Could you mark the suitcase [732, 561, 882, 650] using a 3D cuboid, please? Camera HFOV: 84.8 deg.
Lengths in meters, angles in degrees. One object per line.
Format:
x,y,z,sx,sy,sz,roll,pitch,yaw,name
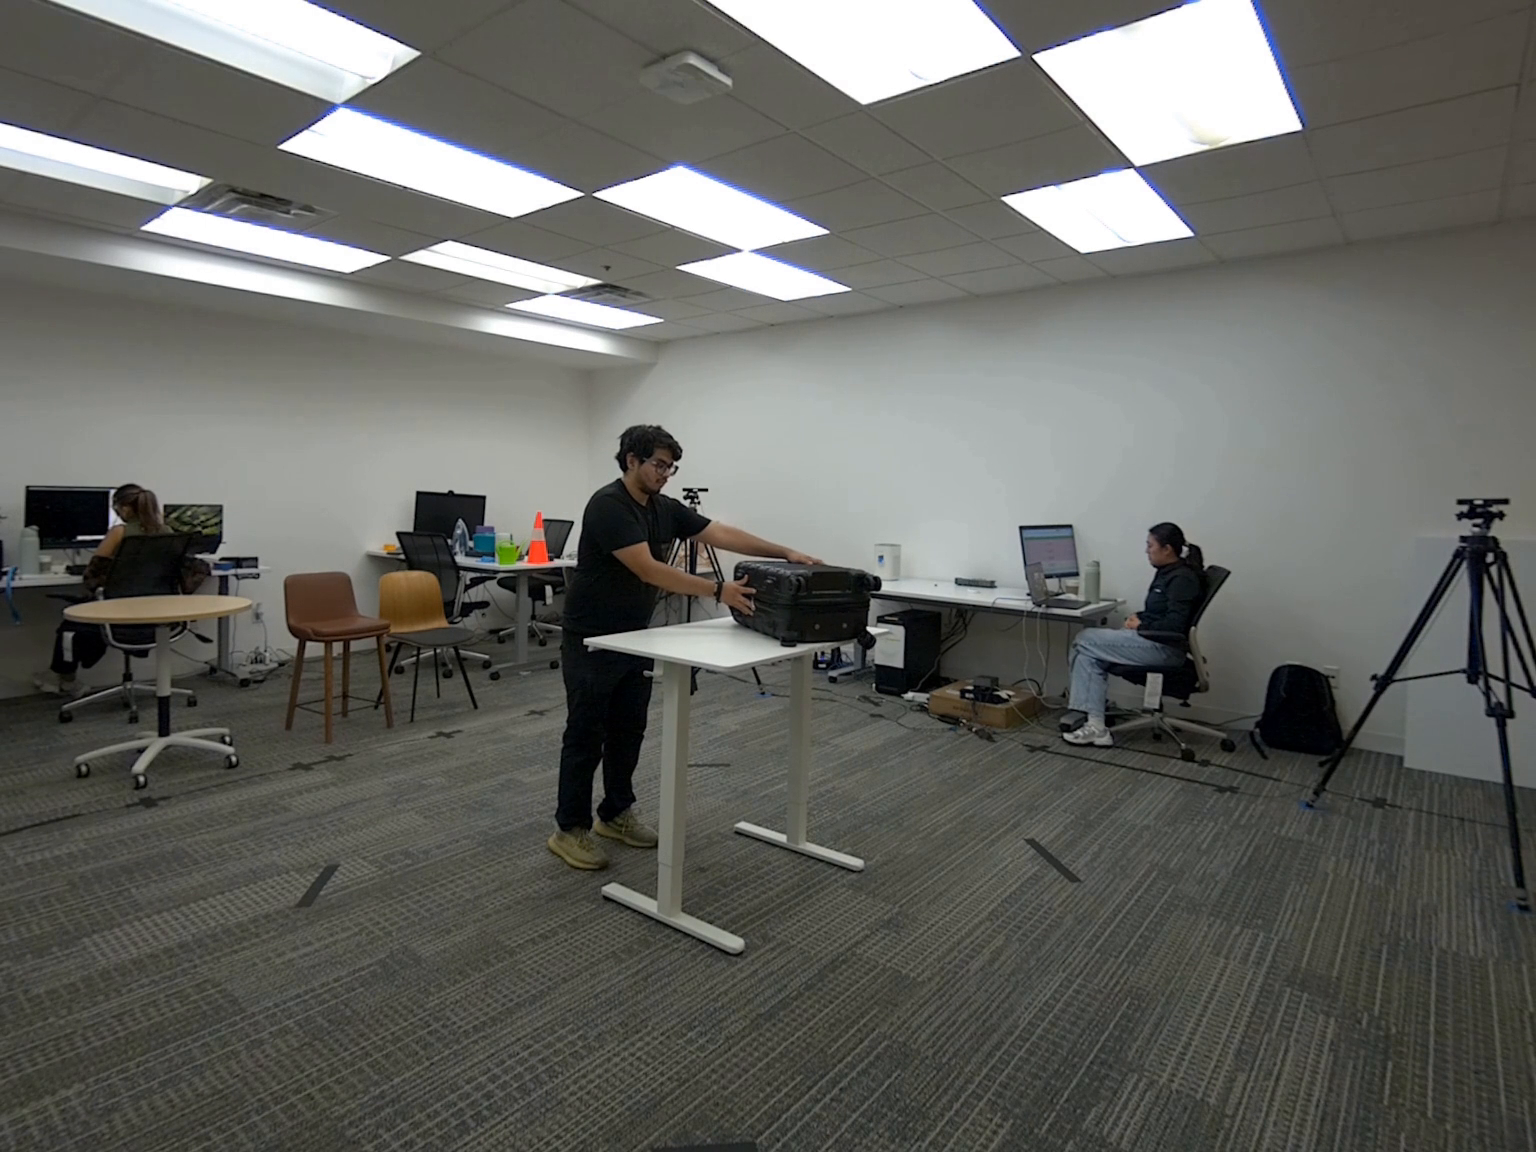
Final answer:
0.097,0.089,3.056,0.367,0.247,0.565,-1,7,-25,suitcase
